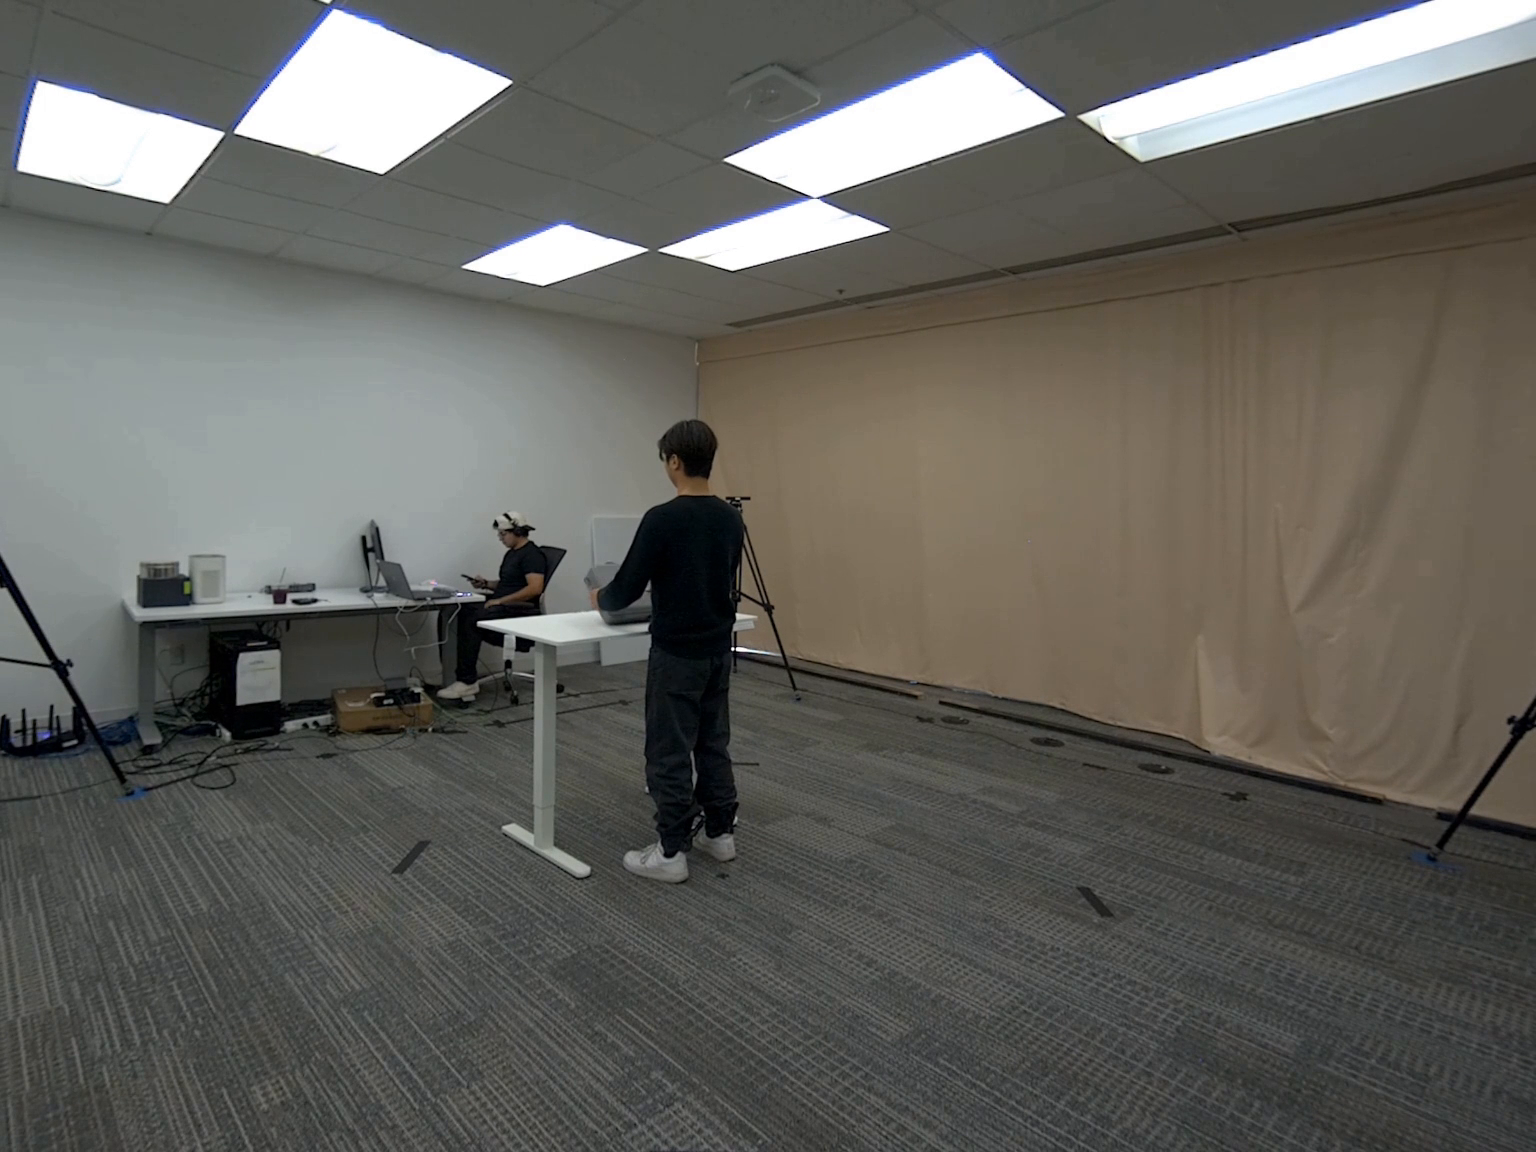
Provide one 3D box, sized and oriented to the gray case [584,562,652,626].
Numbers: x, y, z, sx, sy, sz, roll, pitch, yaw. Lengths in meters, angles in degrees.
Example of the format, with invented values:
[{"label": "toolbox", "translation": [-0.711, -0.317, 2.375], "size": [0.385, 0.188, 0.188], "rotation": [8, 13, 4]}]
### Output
[{"label": "gray case", "translation": [-0.598, 0.068, 3.425], "size": [0.251, 0.267, 0.104], "rotation": [-4, -39, -43]}]
